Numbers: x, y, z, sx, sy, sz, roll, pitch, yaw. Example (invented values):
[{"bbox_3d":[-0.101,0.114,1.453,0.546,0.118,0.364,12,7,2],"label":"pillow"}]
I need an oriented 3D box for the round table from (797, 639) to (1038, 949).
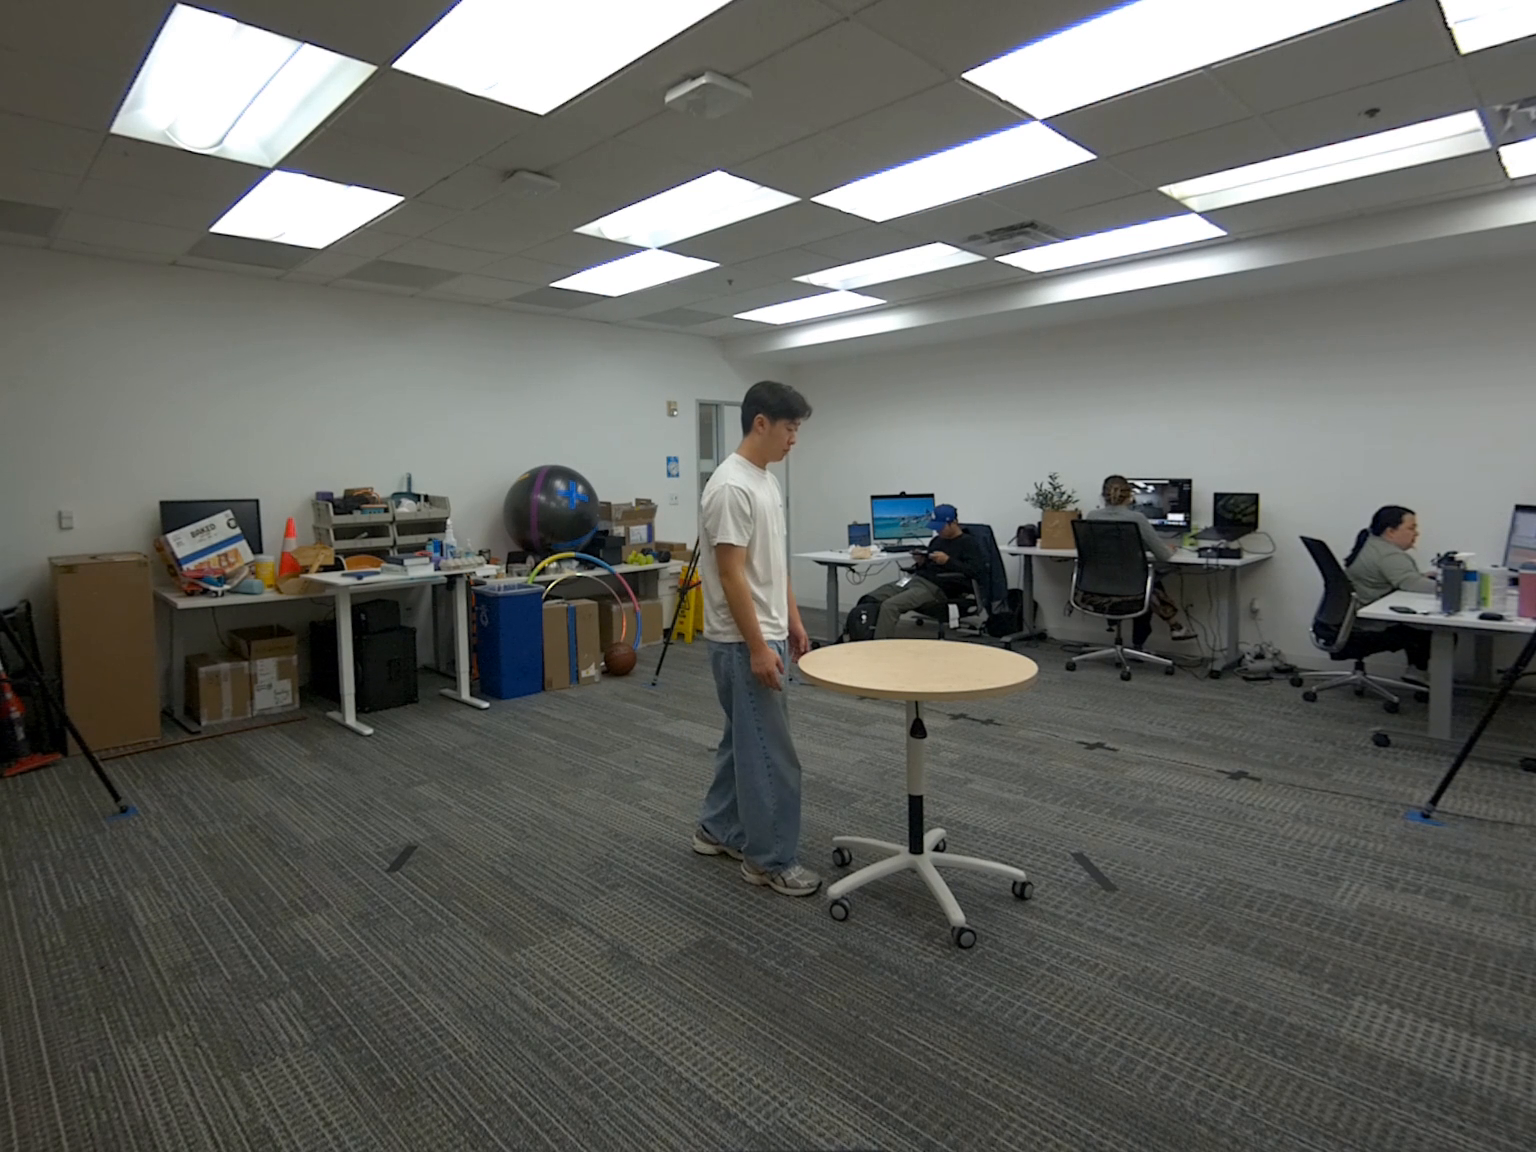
[{"bbox_3d":[0.492,0.676,2.842,0.763,0.791,0.768,-1,5,-2],"label":"round table"}]
